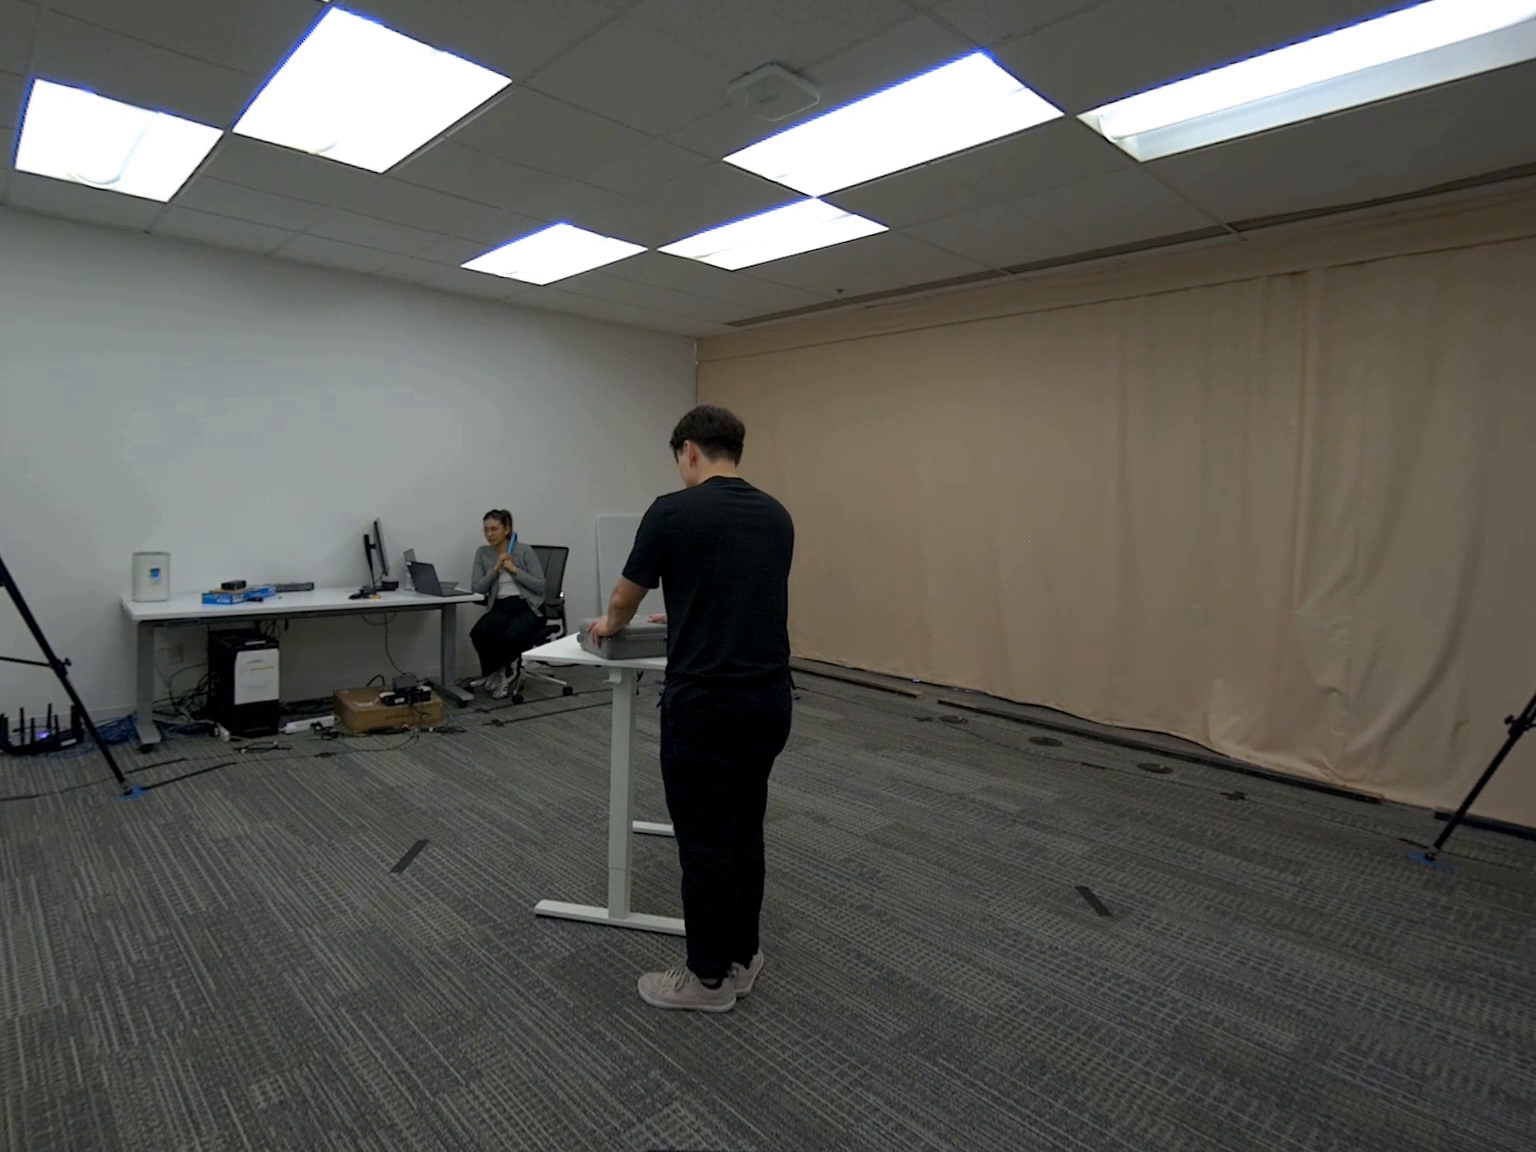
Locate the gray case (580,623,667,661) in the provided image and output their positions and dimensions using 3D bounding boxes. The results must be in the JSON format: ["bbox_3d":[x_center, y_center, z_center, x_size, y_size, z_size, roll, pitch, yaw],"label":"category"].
[{"bbox_3d":[-0.461,0.198,2.723,0.251,0.104,0.267,-3,6,-32],"label":"gray case"}]
